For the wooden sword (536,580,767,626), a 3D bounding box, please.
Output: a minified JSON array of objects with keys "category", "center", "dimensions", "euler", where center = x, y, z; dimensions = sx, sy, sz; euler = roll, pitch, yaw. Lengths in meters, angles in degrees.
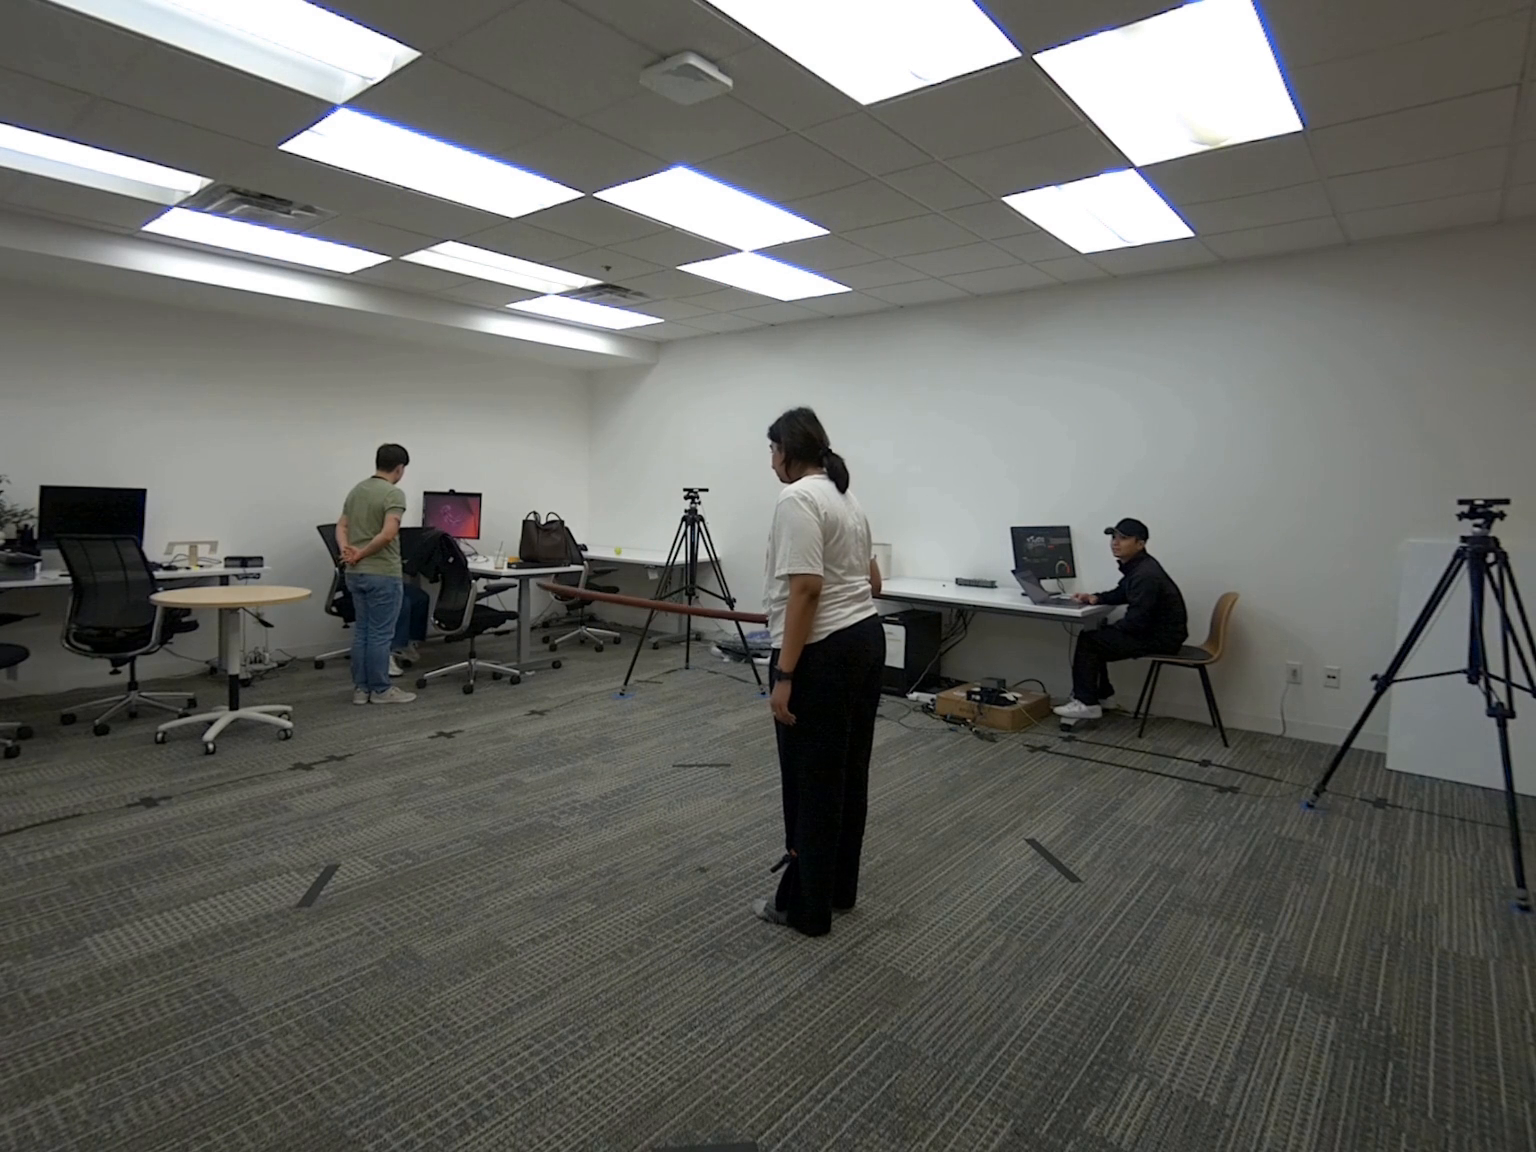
[{"category":"wooden sword","center":[-0.414,0.101,3.129],"dimensions":[1.042,0.051,0.024],"euler":[8,6,14]}]
